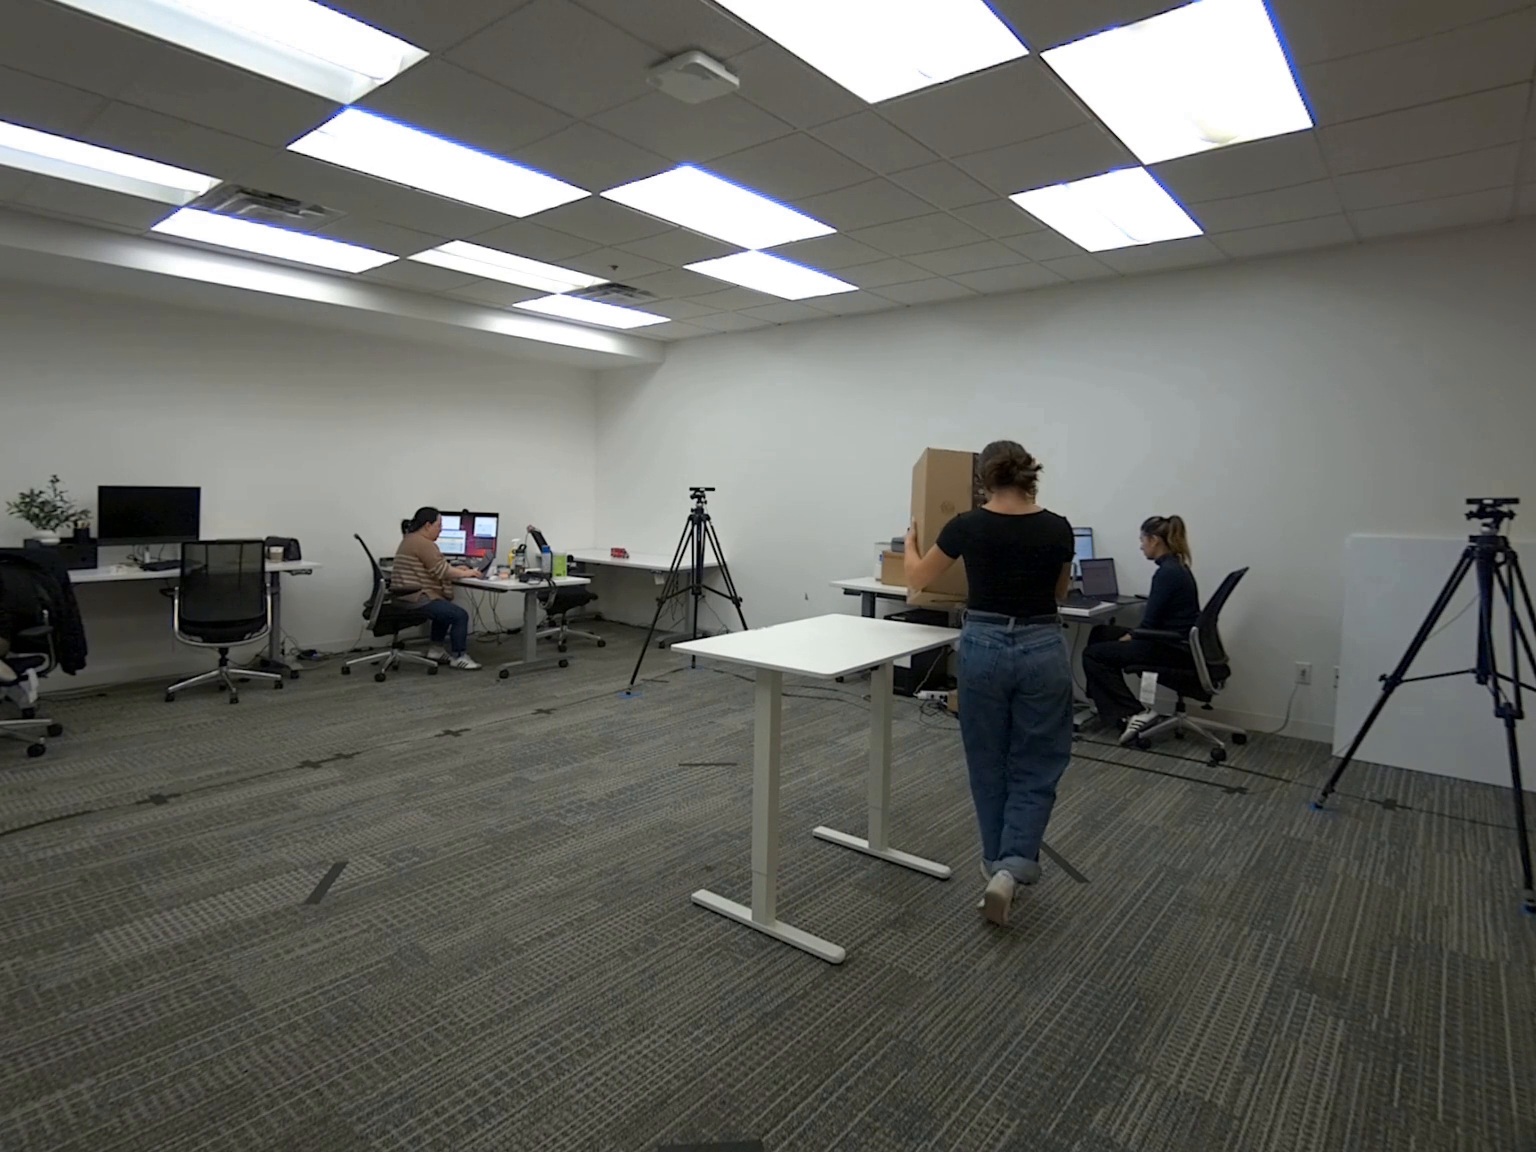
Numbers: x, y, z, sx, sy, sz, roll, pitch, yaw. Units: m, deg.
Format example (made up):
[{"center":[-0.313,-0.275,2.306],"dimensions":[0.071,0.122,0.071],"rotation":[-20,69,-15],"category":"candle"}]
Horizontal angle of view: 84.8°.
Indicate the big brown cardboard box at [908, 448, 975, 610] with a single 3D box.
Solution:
[{"center":[0.768,-0.177,3.240],"dimensions":[0.416,0.597,0.231],"rotation":[7,-16,-3],"category":"big brown cardboard box"}]
